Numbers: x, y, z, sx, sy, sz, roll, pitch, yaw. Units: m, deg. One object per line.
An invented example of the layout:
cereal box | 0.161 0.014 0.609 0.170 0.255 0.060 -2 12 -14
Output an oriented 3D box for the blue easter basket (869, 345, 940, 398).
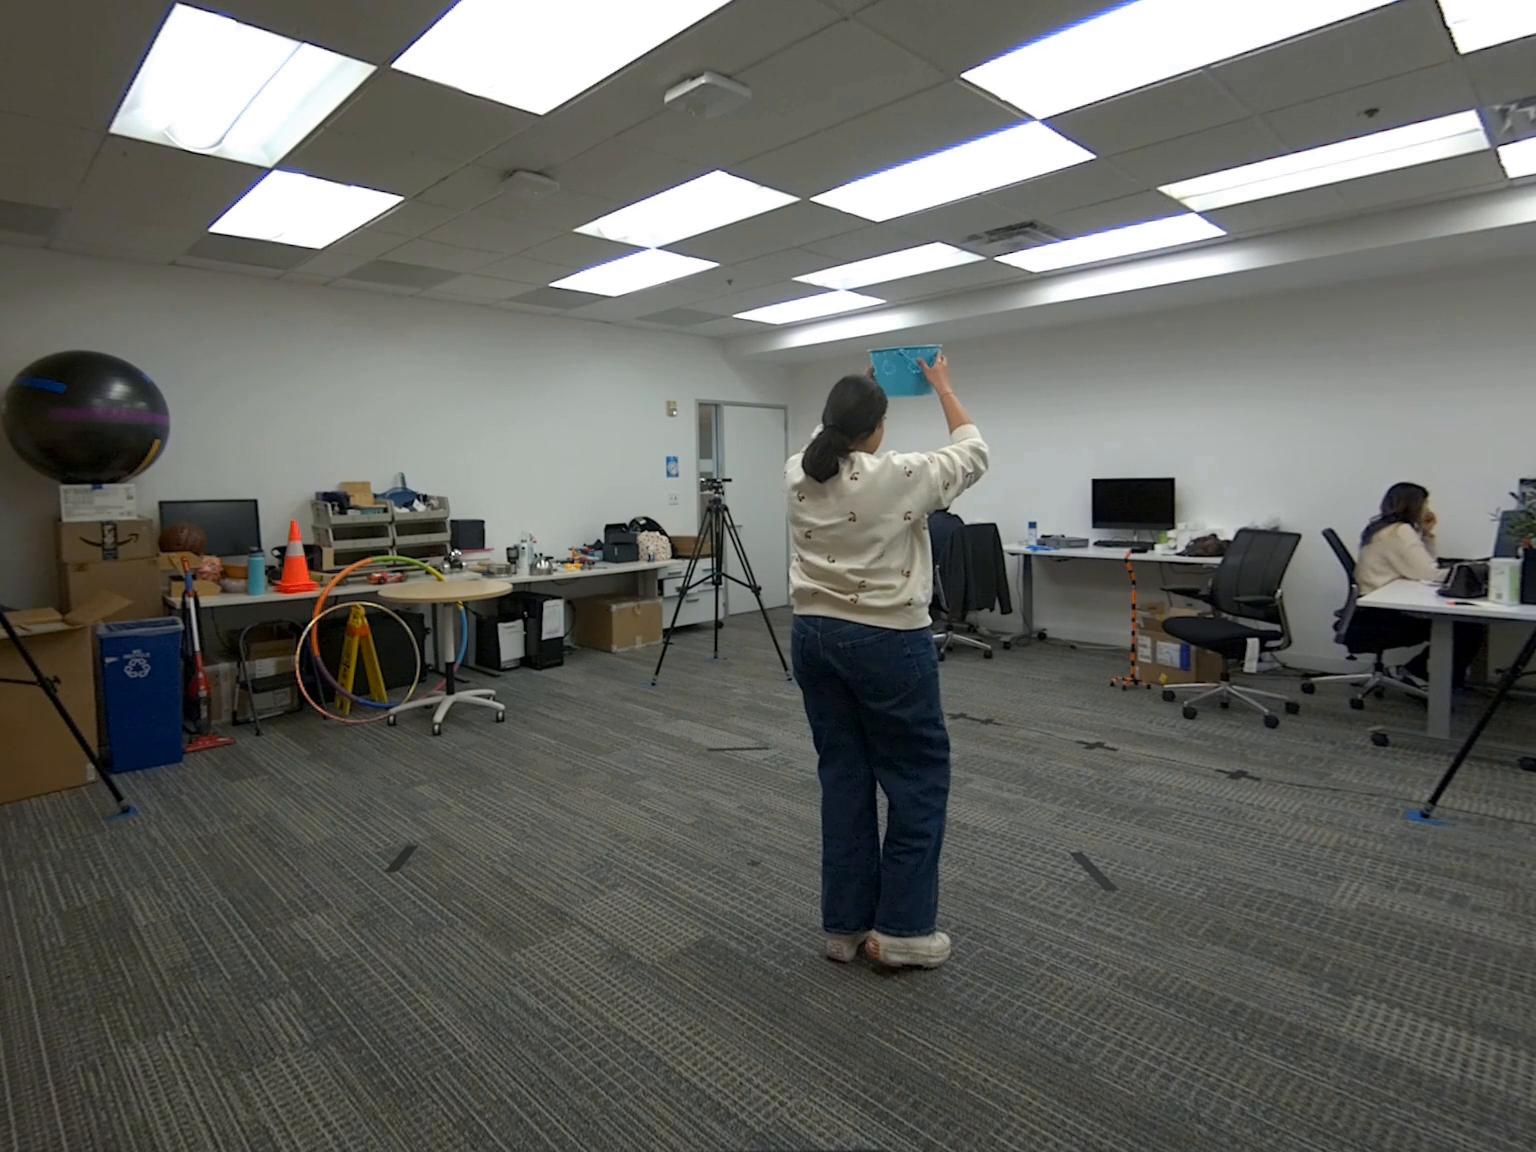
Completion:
blue easter basket | 0.457 -0.655 2.752 0.243 0.154 0.246 -4 10 -1
